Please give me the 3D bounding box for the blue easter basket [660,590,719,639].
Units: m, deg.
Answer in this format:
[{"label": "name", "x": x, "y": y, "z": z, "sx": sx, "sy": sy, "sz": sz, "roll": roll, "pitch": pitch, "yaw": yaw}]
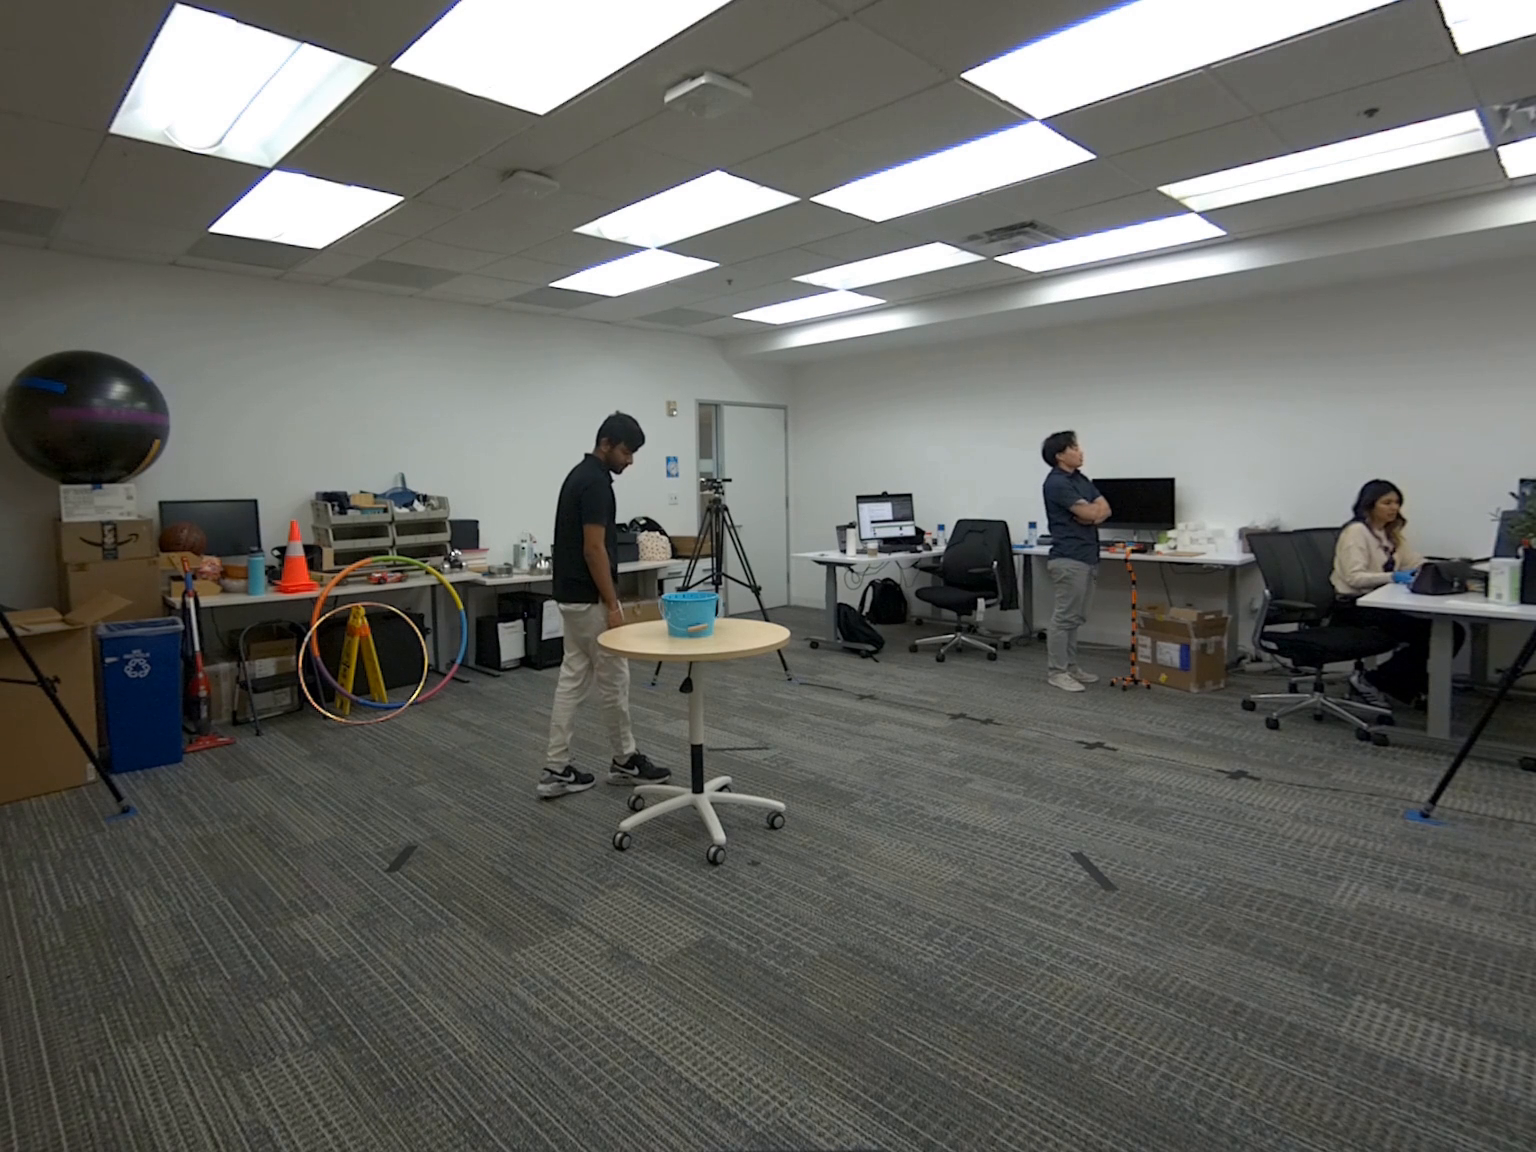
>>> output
[{"label": "blue easter basket", "x": -0.315, "y": 0.159, "z": 3.424, "sx": 0.243, "sy": 0.155, "sz": 0.245, "roll": -3, "pitch": 5, "yaw": -1}]
